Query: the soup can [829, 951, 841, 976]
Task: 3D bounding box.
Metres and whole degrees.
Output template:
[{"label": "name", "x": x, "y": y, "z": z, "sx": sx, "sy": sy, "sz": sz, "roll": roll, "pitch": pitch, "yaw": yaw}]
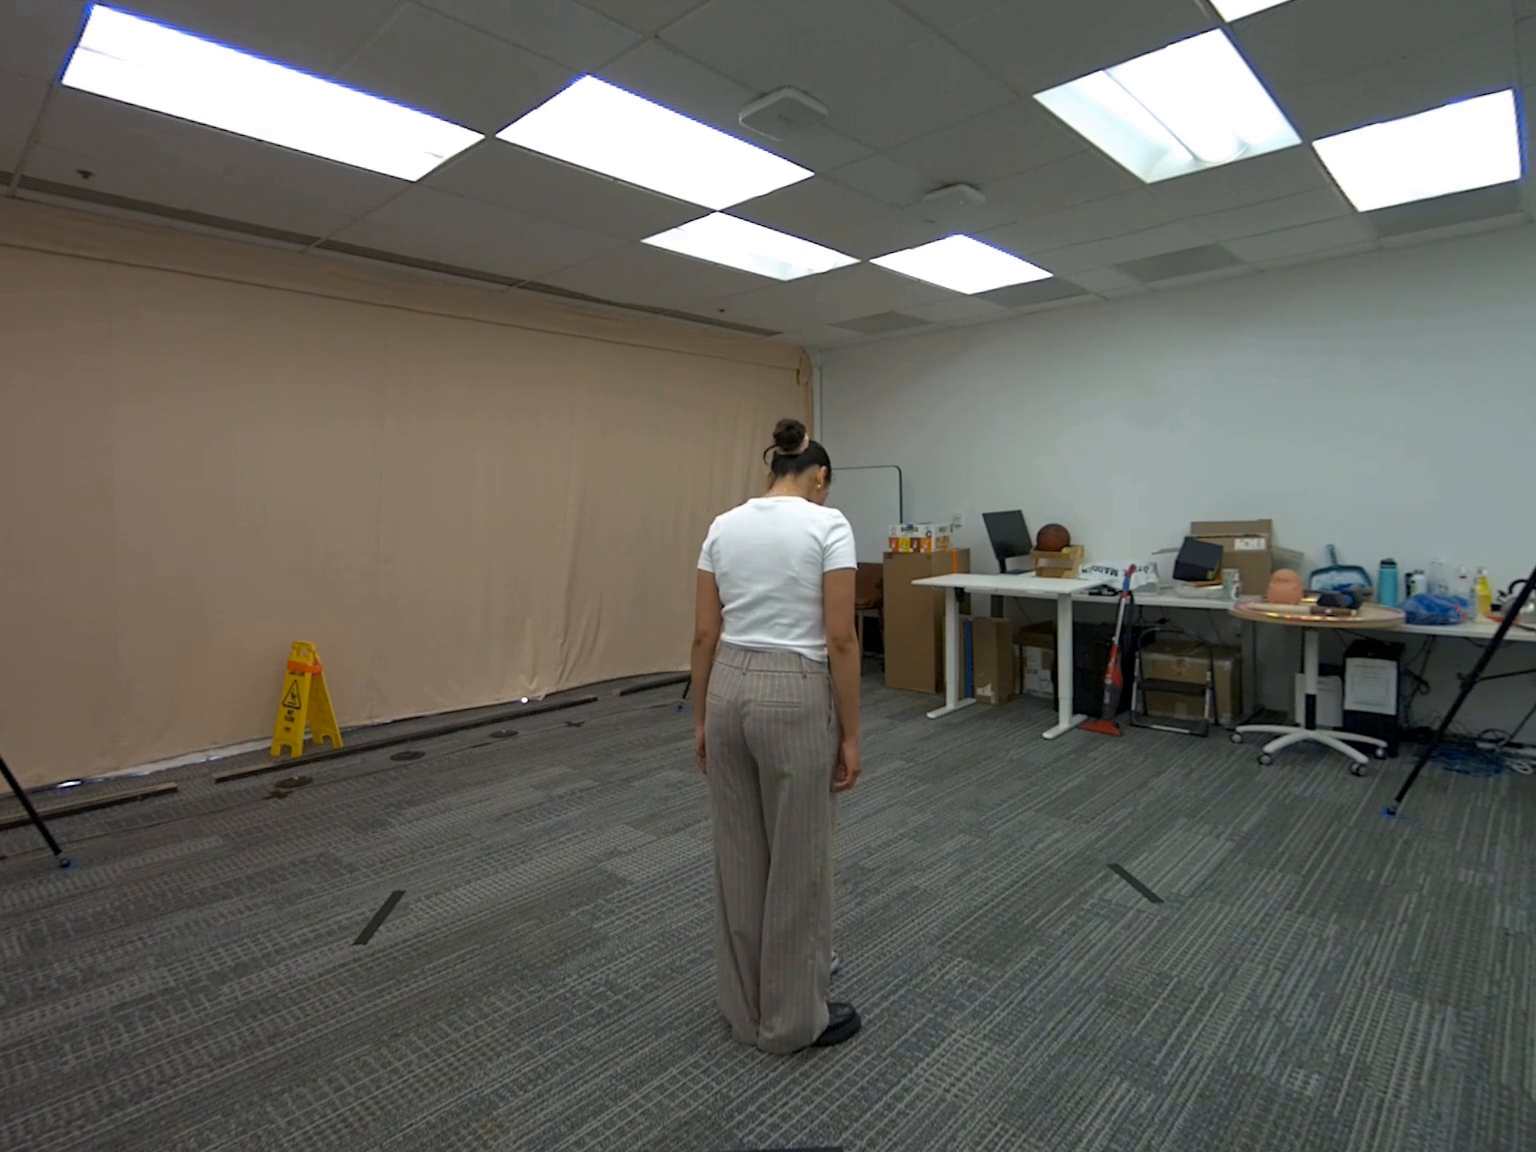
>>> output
[{"label": "soup can", "x": 0.166, "y": 1.145, "z": 2.476, "sx": 0.069, "sy": 0.067, "sz": 0.118, "roll": 2, "pitch": 1, "yaw": 33}]
